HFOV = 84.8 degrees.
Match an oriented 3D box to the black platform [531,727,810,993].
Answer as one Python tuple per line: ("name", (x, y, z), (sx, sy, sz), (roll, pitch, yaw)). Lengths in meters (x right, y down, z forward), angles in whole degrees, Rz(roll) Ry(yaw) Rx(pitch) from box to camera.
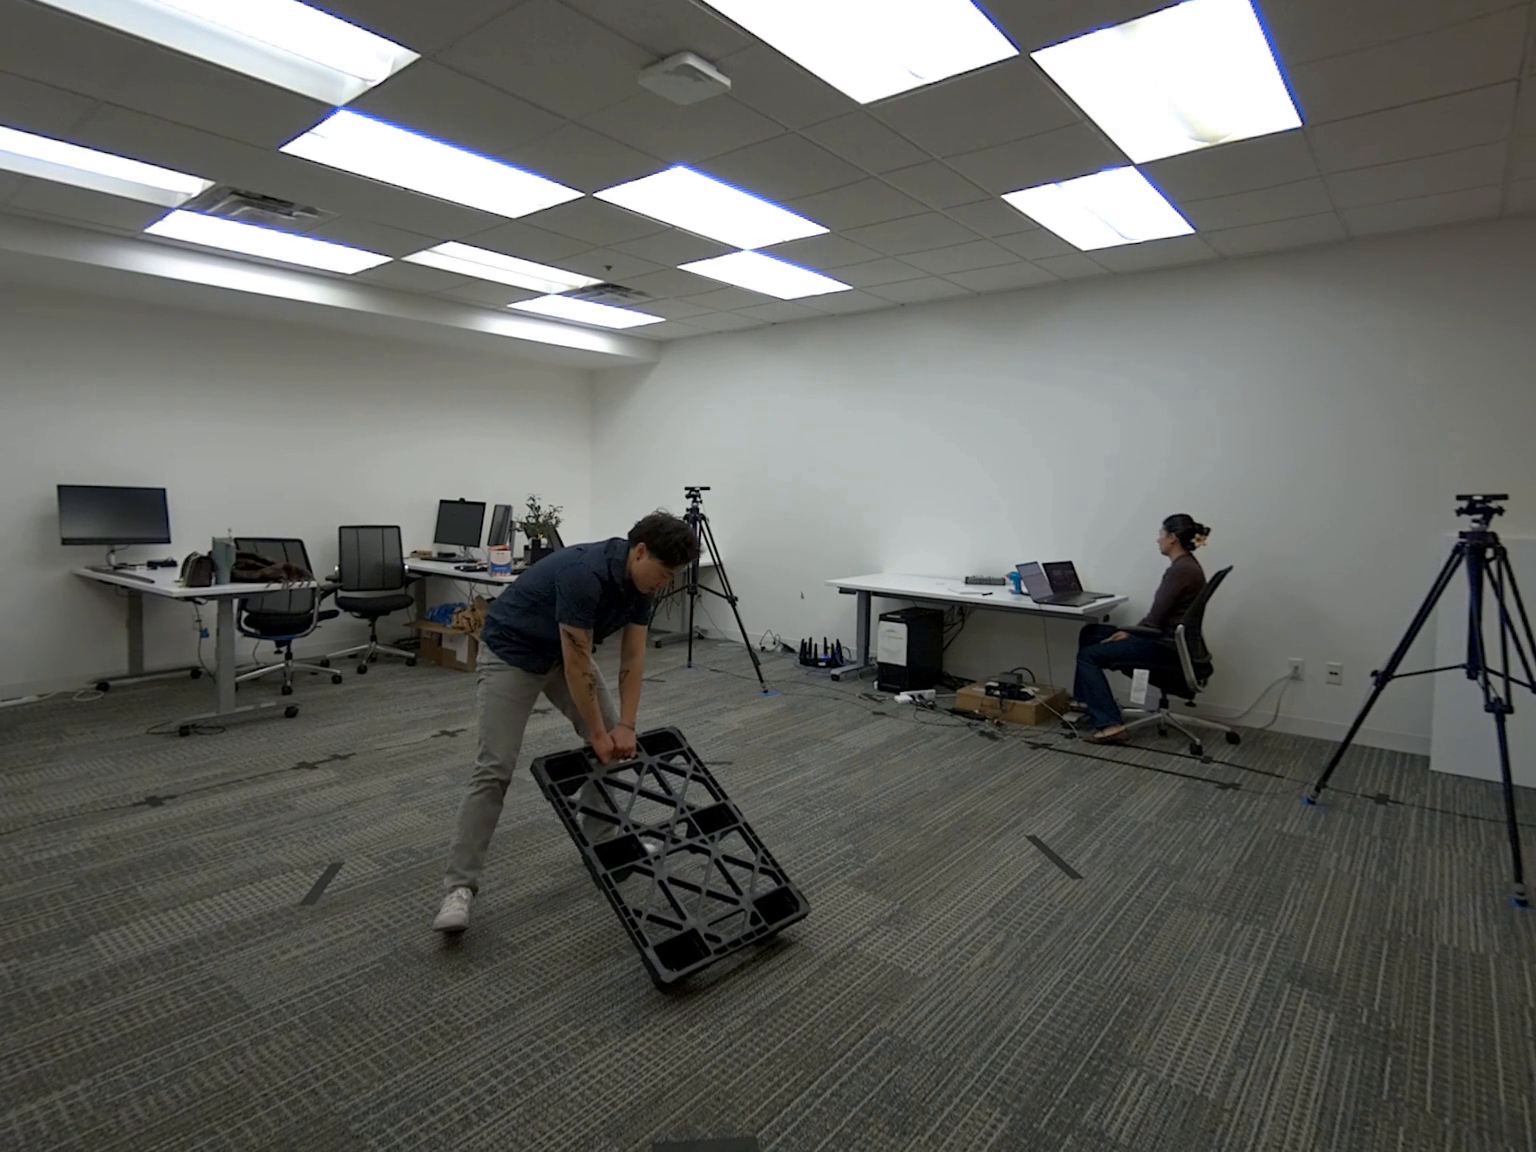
("black platform", (-0.335, 0.848, 2.683), (0.587, 0.142, 0.838), (-4, 39, -44))
